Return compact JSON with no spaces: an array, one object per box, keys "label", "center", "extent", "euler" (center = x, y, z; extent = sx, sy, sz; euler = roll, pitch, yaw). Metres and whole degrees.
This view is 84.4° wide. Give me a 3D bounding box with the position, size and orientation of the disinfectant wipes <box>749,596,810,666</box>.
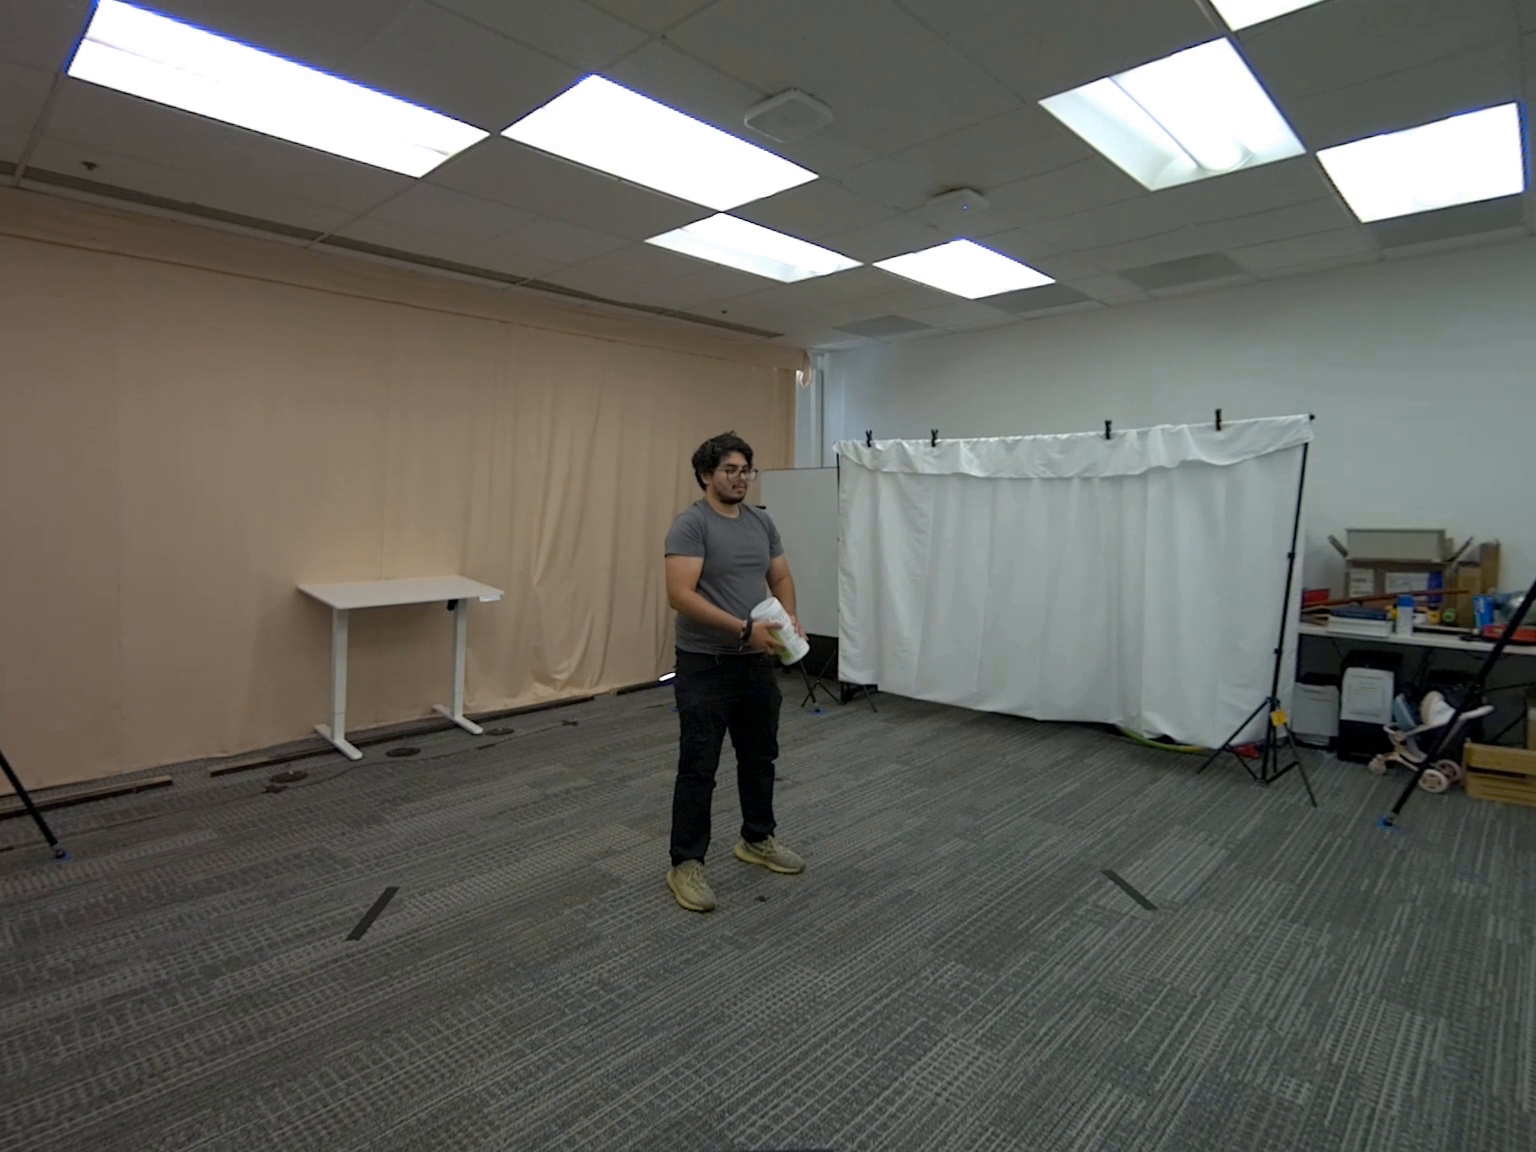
[{"label":"disinfectant wipes","center":[0.047,0.193,2.887],"extent":[0.118,0.214,0.119],"euler":[-32,14,7]}]
